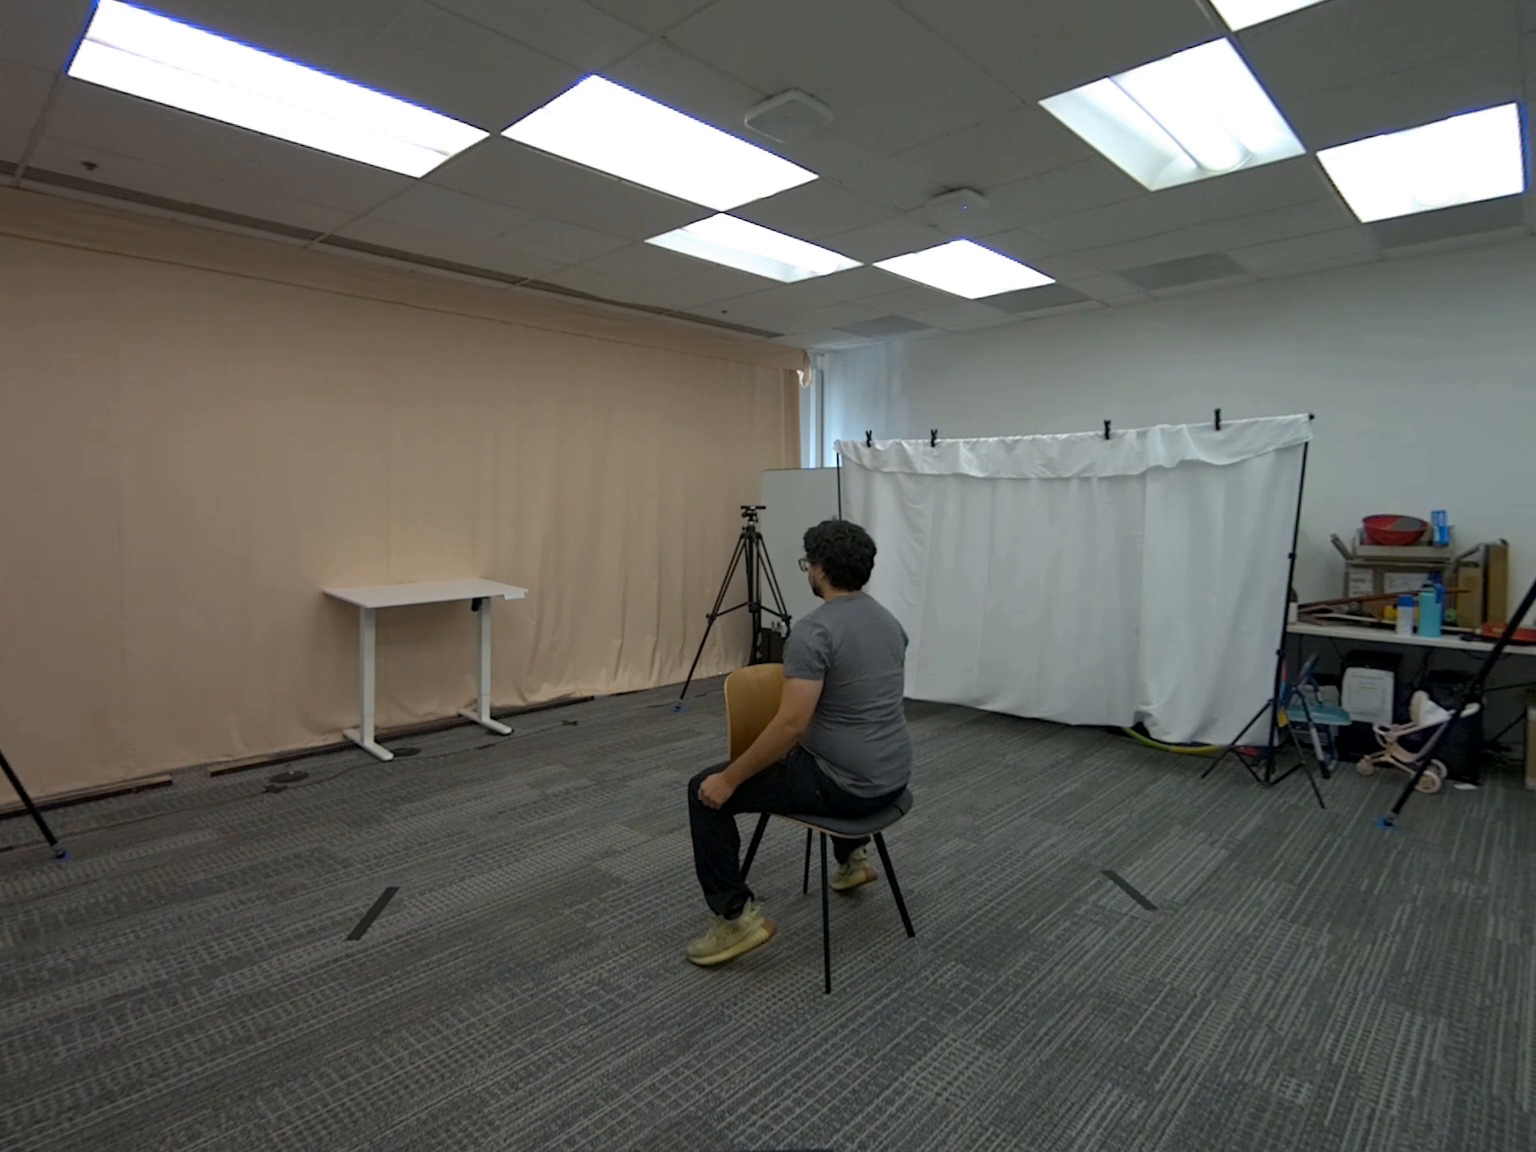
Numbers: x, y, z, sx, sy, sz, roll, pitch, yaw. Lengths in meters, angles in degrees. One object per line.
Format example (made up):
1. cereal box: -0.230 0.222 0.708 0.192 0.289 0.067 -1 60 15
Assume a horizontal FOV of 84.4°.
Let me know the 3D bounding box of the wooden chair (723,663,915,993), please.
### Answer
1. wooden chair: 0.166 0.747 2.685 0.540 0.877 0.463 -2 1 44
